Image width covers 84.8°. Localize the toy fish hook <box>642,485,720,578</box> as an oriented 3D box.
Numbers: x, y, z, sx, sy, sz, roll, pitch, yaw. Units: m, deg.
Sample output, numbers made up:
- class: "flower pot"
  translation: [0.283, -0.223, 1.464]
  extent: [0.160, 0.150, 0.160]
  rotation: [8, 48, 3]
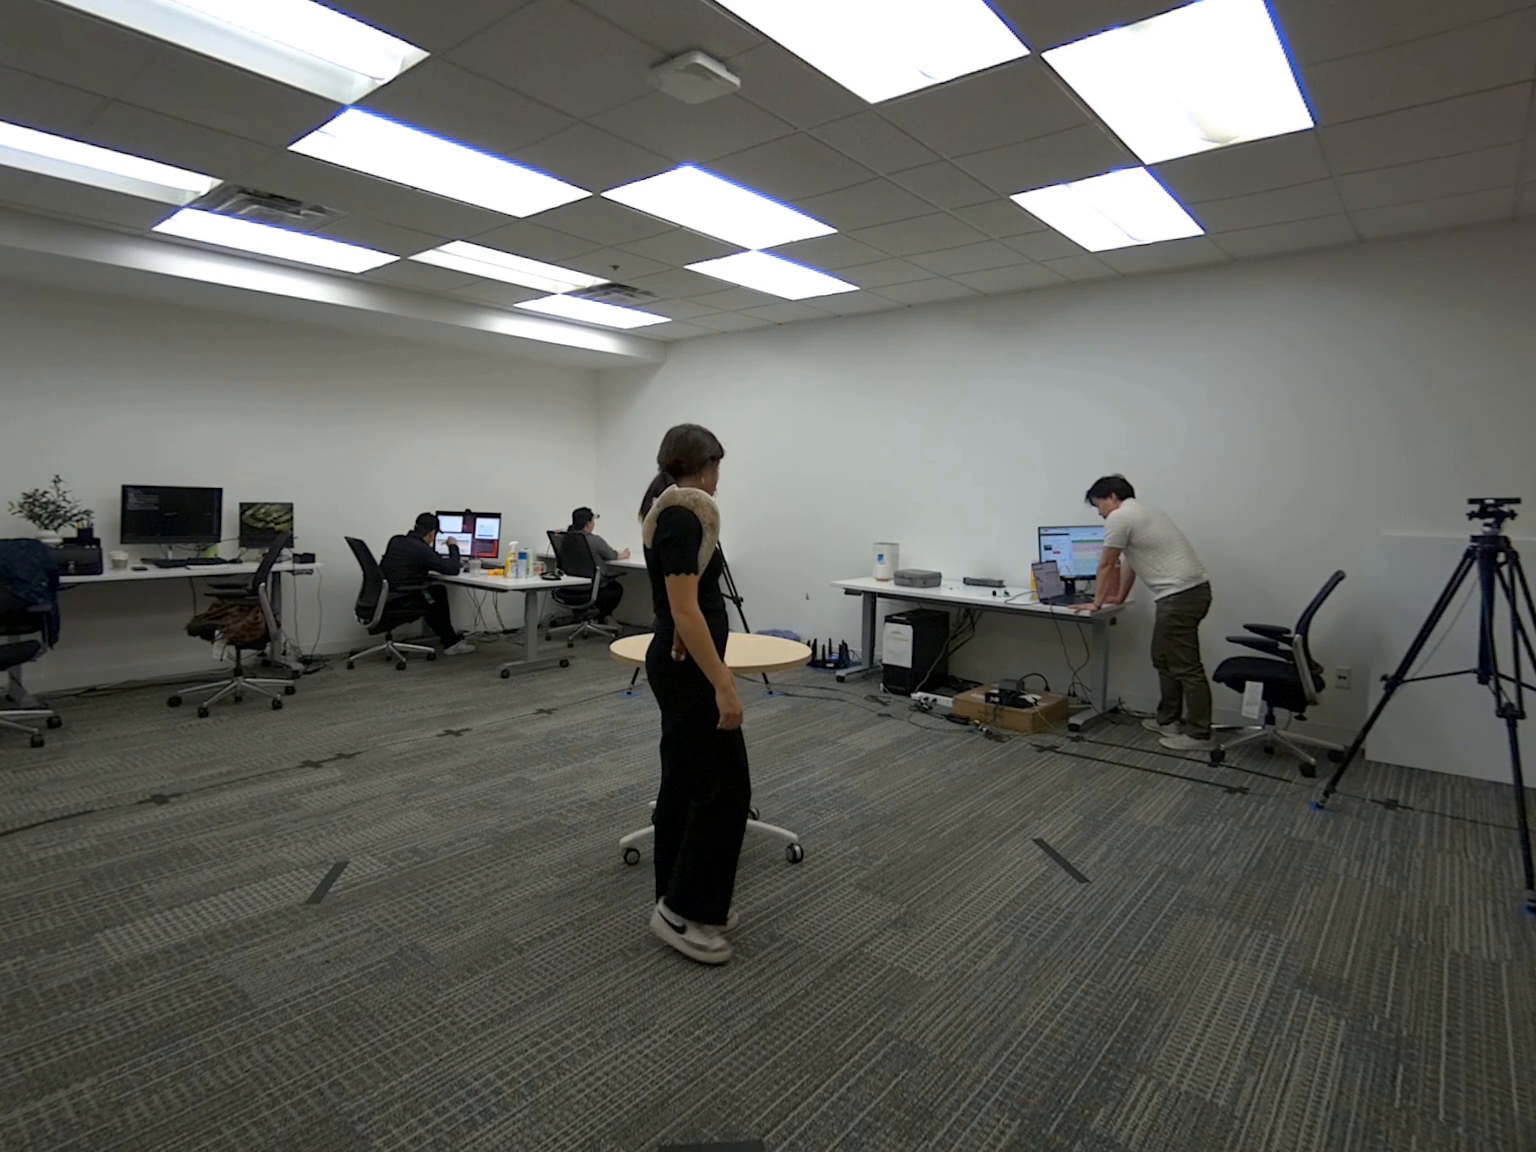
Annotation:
- class: "toy fish hook"
  translation: [-0.277, -0.012, 2.487]
  extent: [0.224, 0.508, 0.048]
  rotation: [5, -4, 0]
